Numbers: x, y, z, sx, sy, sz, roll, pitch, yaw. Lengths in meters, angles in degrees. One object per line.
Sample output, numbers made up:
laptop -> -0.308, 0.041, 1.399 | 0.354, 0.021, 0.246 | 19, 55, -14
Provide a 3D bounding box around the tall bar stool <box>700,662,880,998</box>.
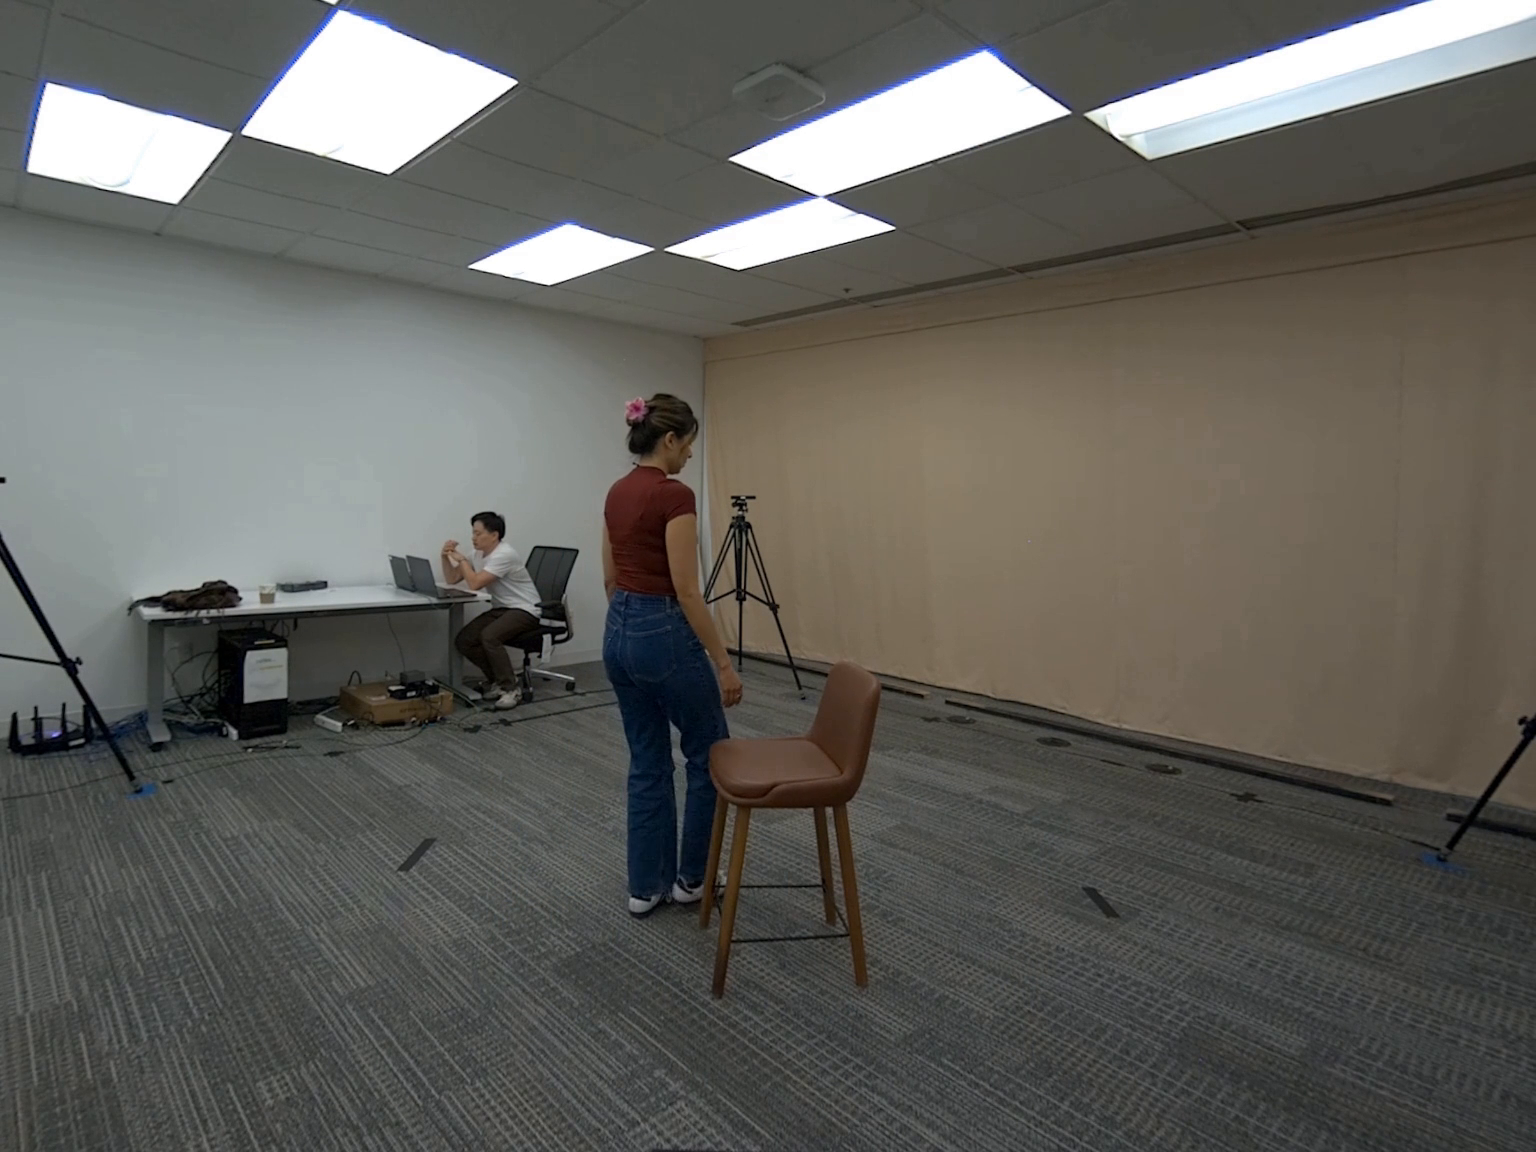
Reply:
tall bar stool -> 0.051, 0.727, 2.532 | 0.464, 0.887, 0.461 | 3, 4, -10
